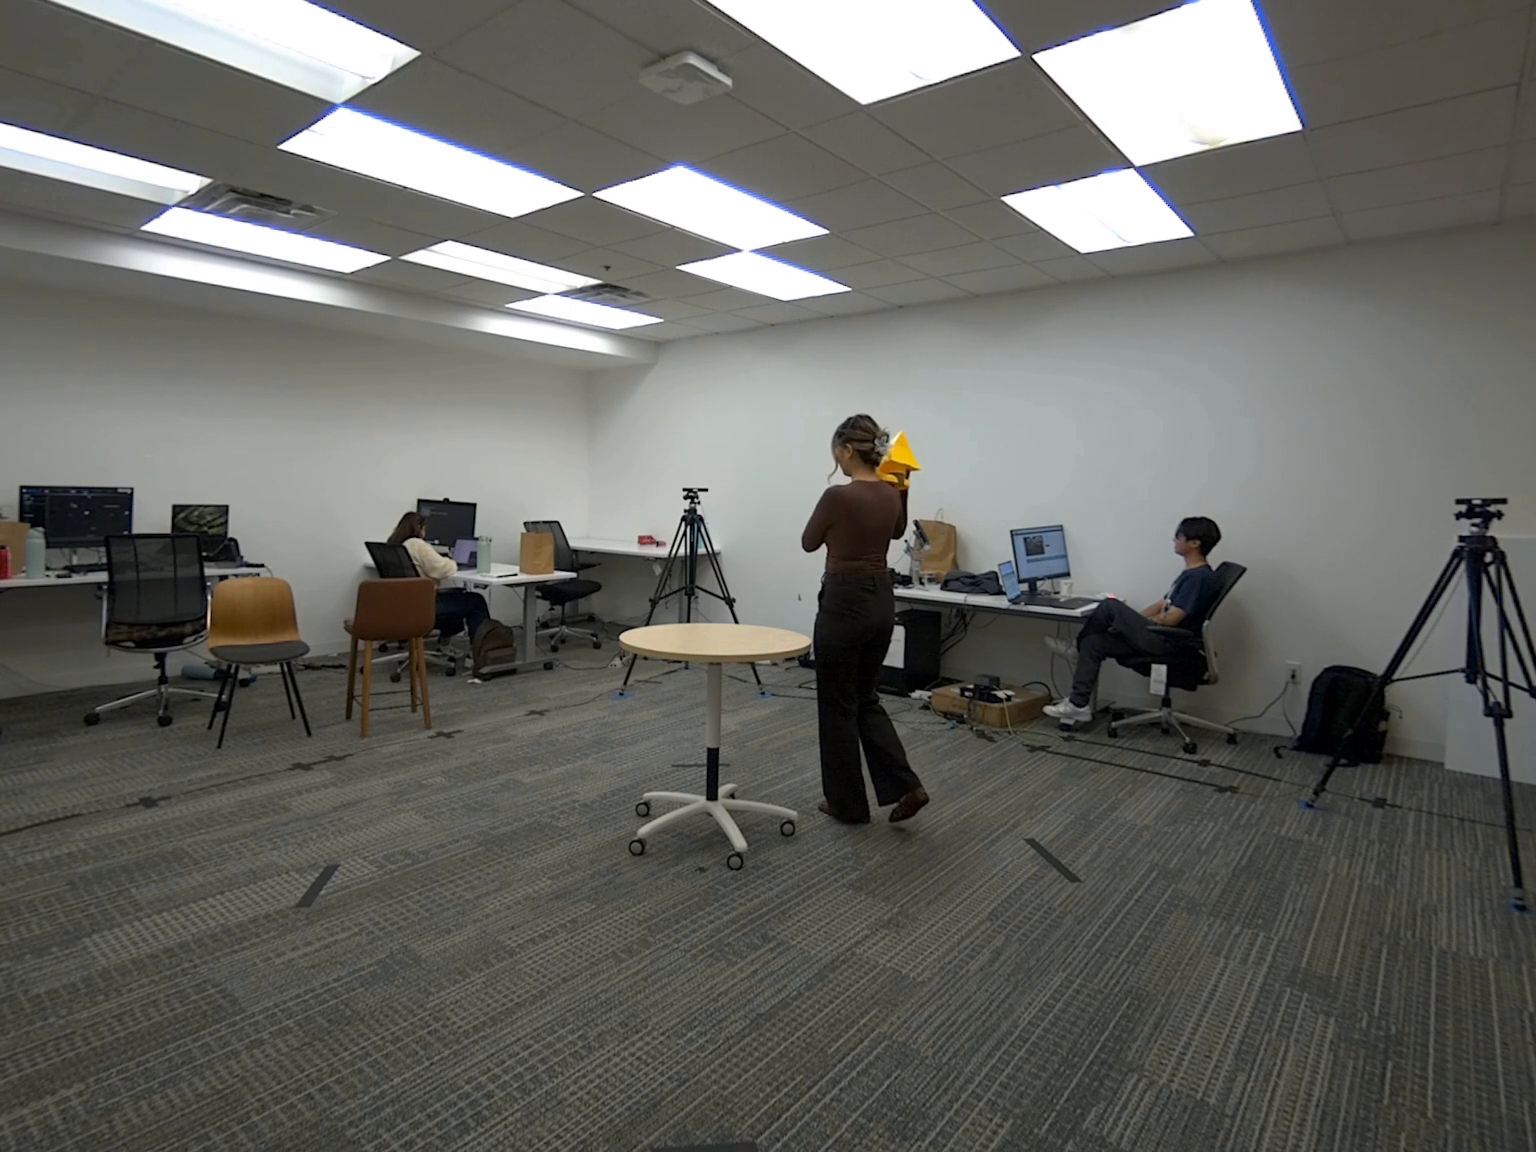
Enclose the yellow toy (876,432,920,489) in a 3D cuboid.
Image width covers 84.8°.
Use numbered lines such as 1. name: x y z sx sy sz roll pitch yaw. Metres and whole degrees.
1. yellow toy: 0.507 -0.502 3.614 0.199 0.232 0.197 -4 -9 45
